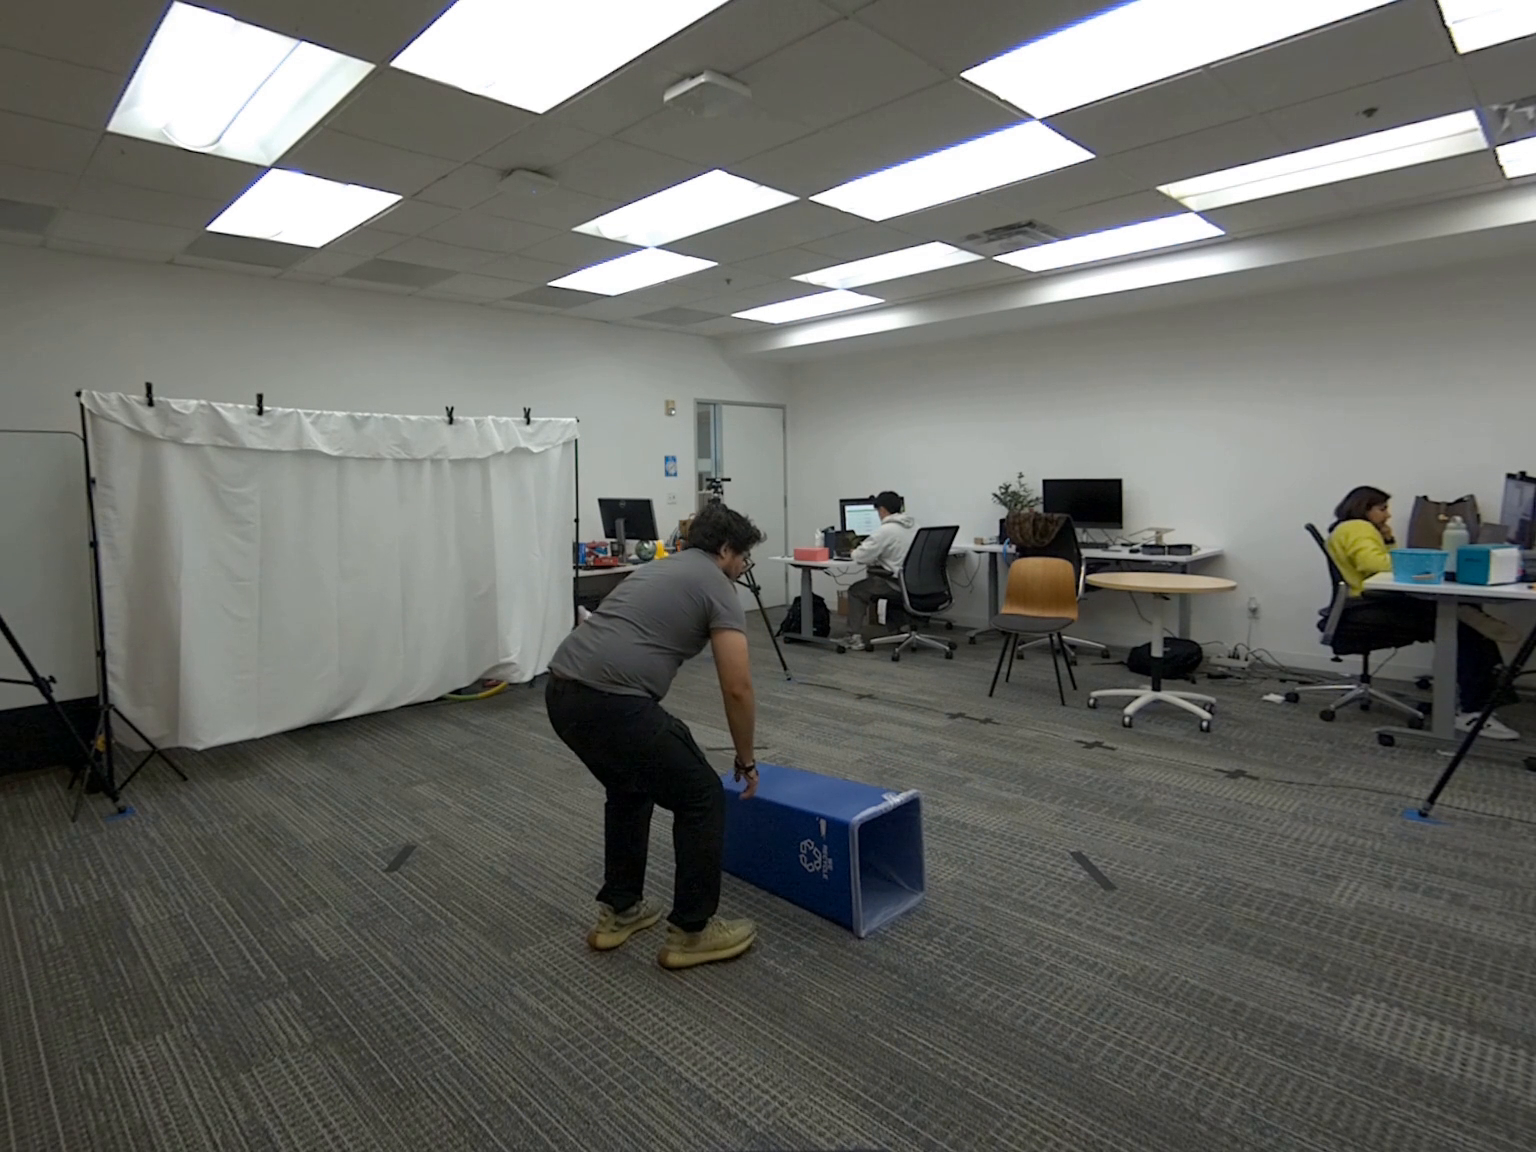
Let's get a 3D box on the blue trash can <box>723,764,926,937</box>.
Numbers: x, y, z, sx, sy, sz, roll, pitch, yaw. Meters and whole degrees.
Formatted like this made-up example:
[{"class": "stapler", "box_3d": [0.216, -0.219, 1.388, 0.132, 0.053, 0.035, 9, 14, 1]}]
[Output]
[{"class": "blue trash can", "box_3d": [0.141, 0.886, 2.951, 0.364, 0.377, 0.735, -7, 7, -44]}]
